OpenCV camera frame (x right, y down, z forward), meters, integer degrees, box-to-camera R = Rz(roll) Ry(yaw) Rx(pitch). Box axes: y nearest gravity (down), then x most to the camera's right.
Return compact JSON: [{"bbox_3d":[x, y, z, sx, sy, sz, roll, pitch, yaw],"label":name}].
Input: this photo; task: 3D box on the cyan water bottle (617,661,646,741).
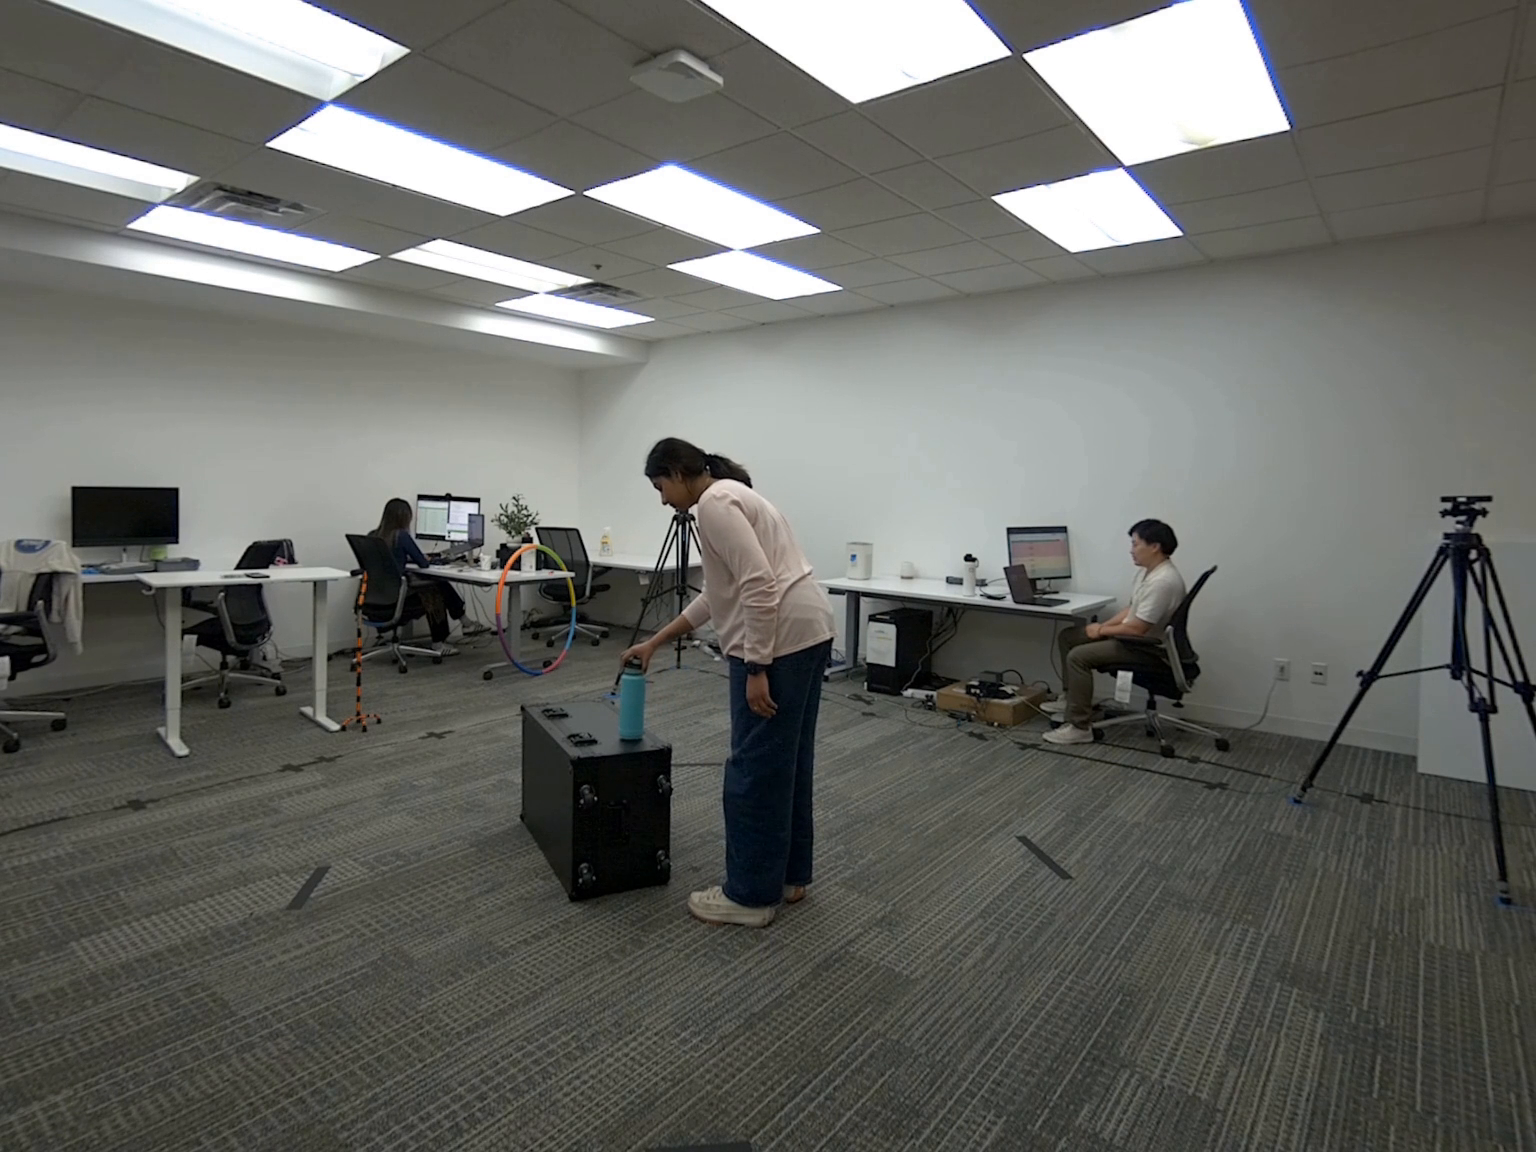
[{"bbox_3d":[-0.505,0.432,3.066,0.092,0.282,0.093,3,4,-2],"label":"cyan water bottle"}]
